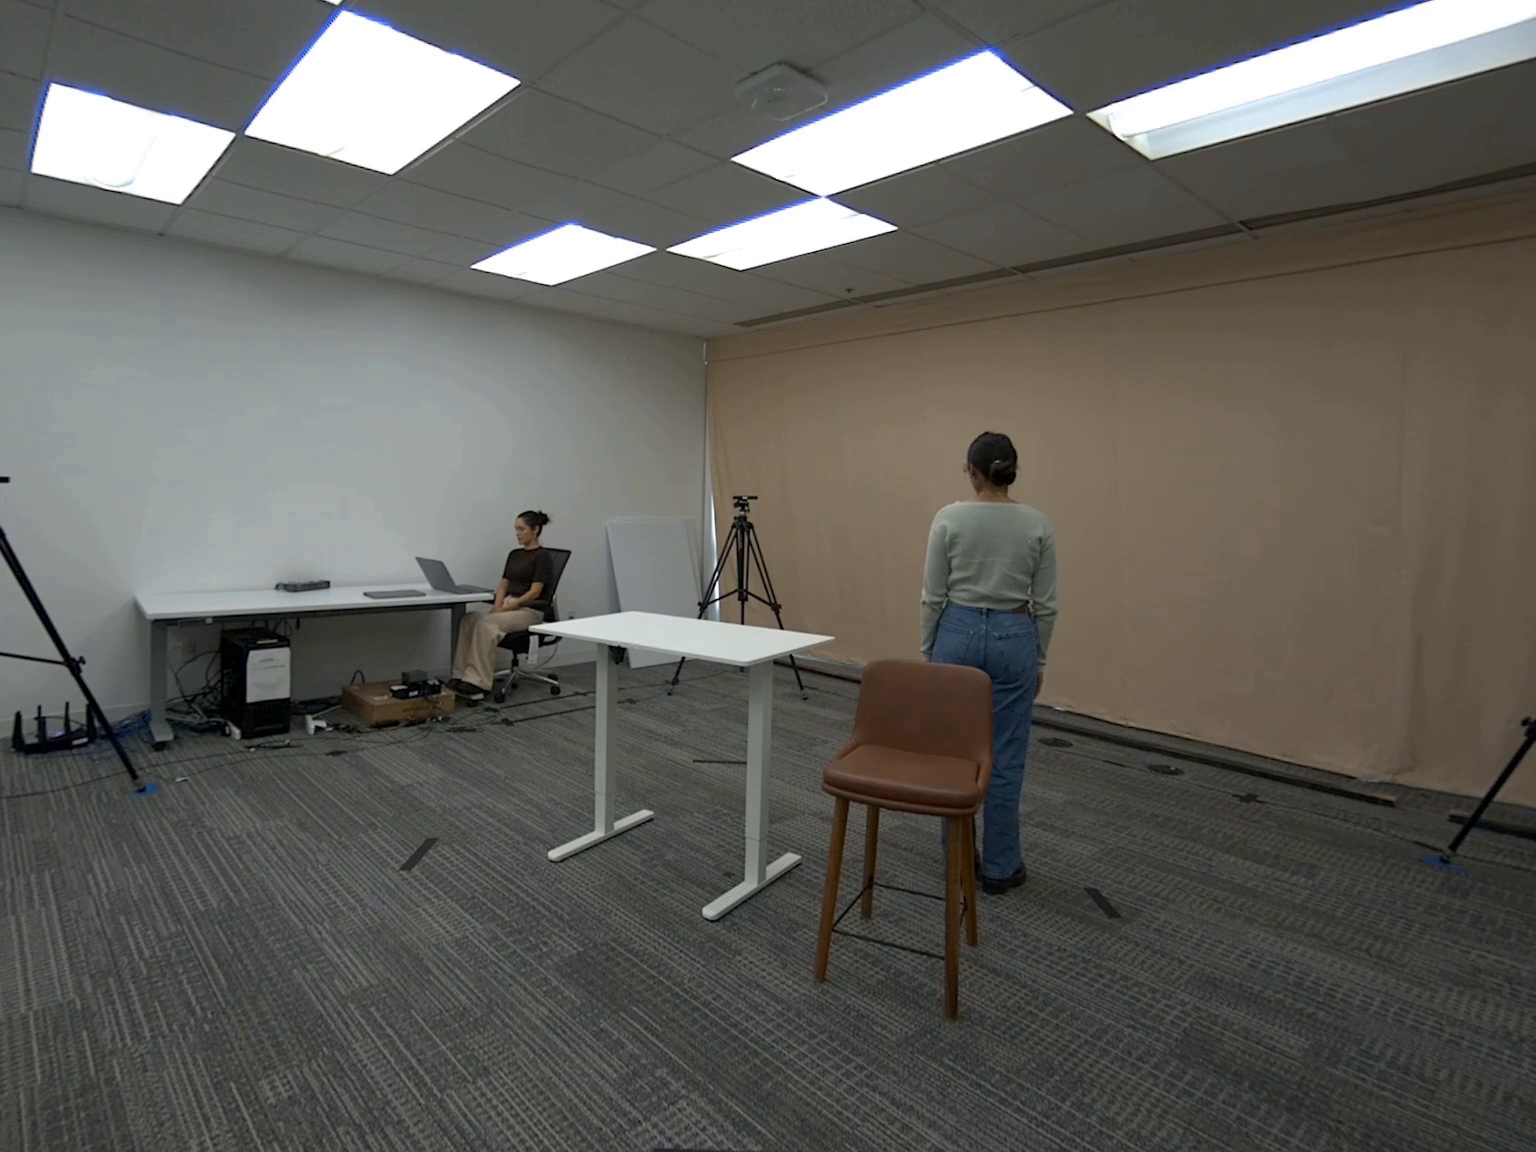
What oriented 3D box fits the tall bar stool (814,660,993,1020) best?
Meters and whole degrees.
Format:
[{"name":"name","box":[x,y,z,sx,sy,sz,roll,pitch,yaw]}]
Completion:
[{"name":"tall bar stool","box":[0.418,0.735,2.525,0.465,0.888,0.459,3,2,25]}]
